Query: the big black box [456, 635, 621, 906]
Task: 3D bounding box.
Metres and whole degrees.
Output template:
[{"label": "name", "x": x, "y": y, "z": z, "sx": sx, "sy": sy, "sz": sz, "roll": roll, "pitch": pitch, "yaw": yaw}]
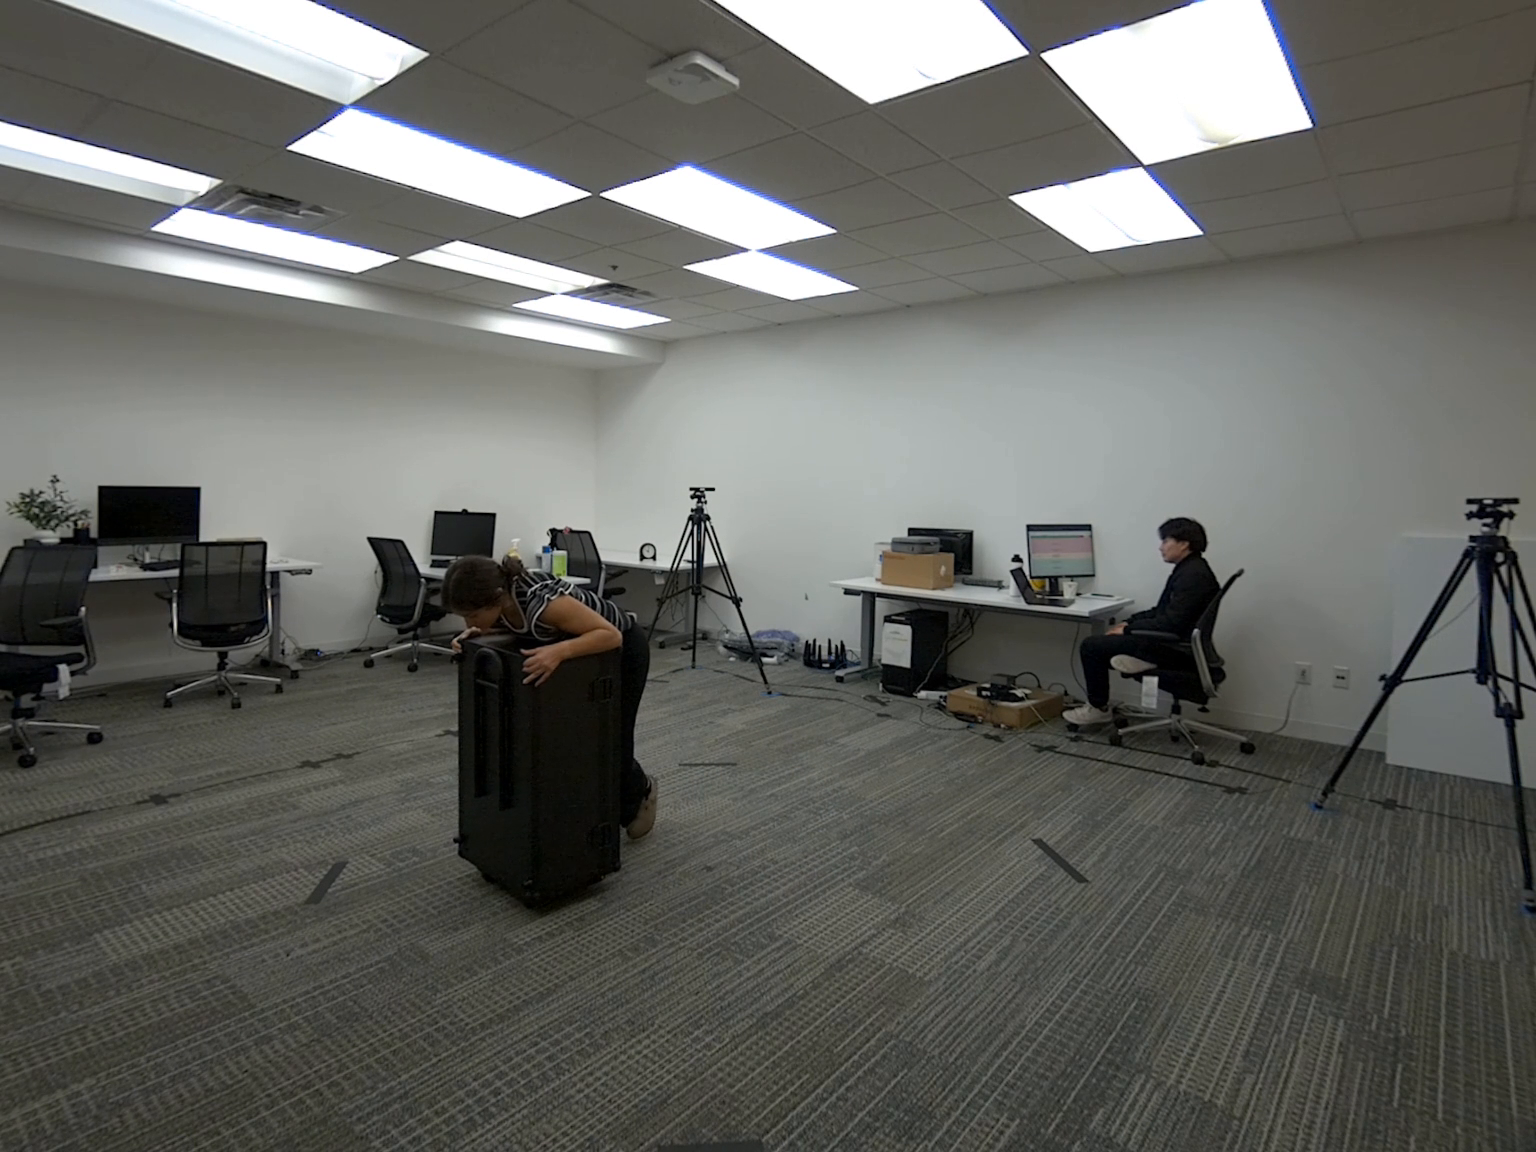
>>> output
[{"label": "big black box", "x": -0.815, "y": 0.662, "z": 2.942, "sx": 0.539, "sy": 0.858, "sz": 0.385, "roll": 4, "pitch": 6, "yaw": 43}]
